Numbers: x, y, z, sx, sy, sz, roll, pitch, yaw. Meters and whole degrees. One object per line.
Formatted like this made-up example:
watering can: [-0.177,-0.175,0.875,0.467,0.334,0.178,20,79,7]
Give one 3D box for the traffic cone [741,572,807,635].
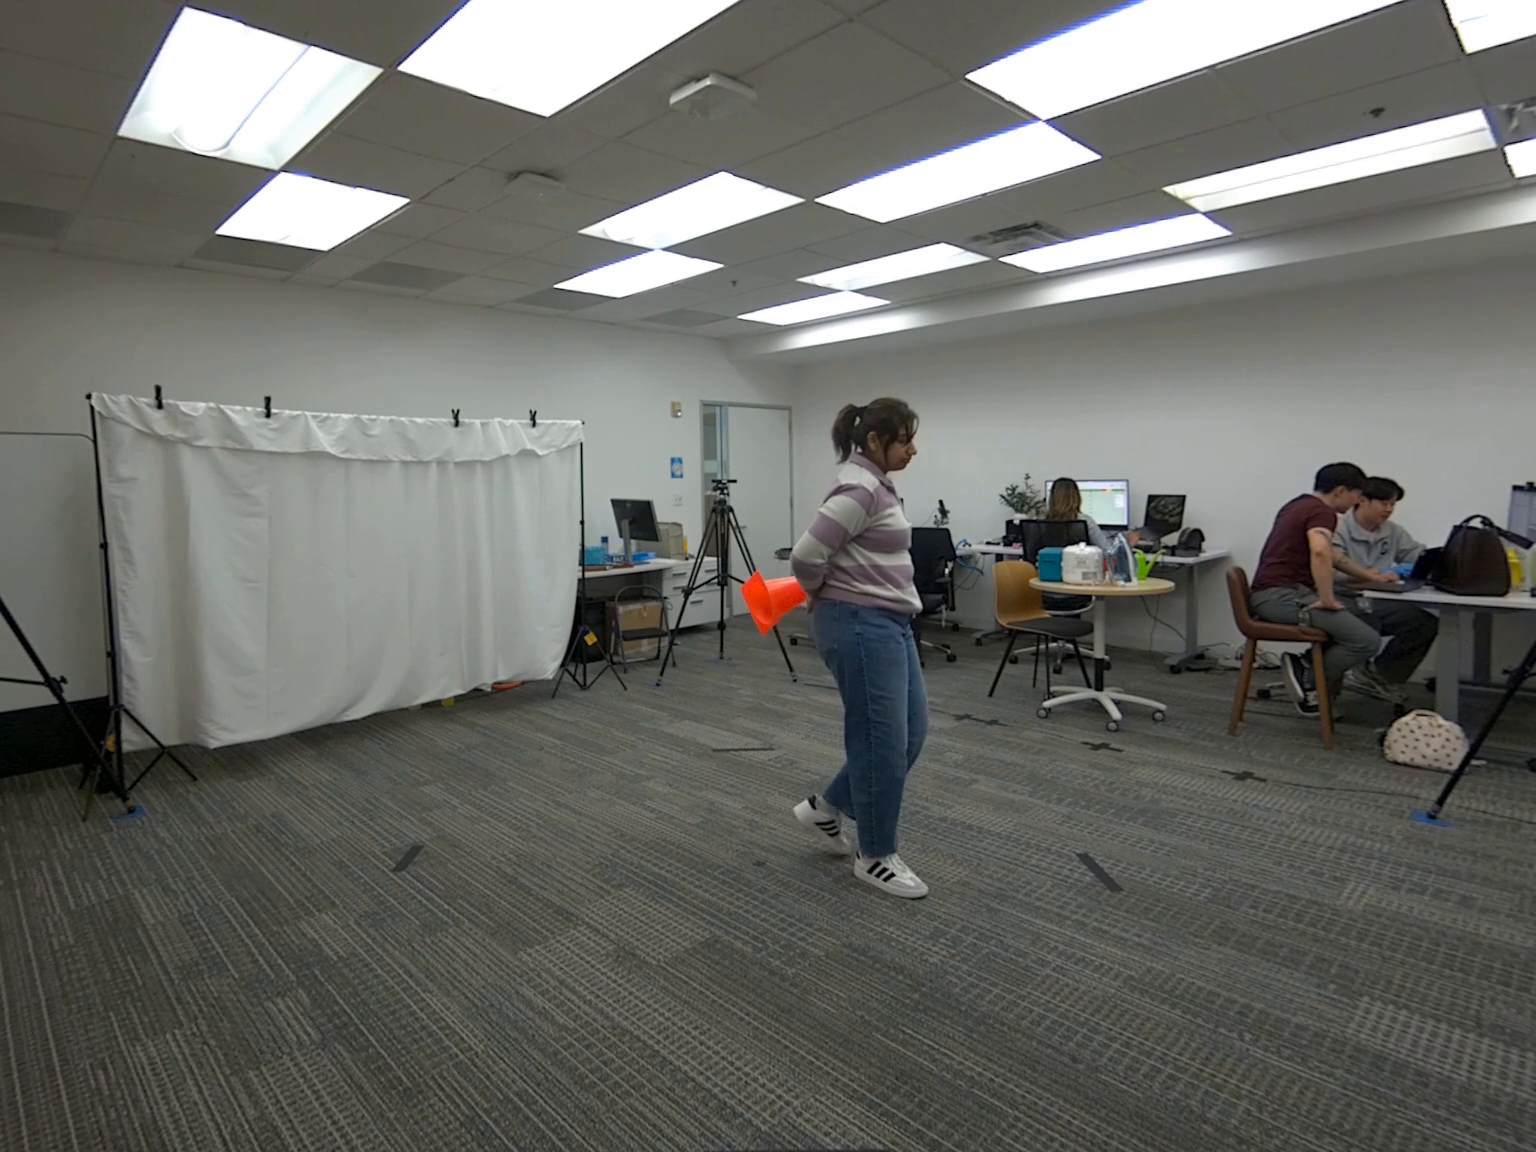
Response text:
traffic cone: [0.134,0.046,3.186,0.377,0.209,0.202,-18,-18,-27]
